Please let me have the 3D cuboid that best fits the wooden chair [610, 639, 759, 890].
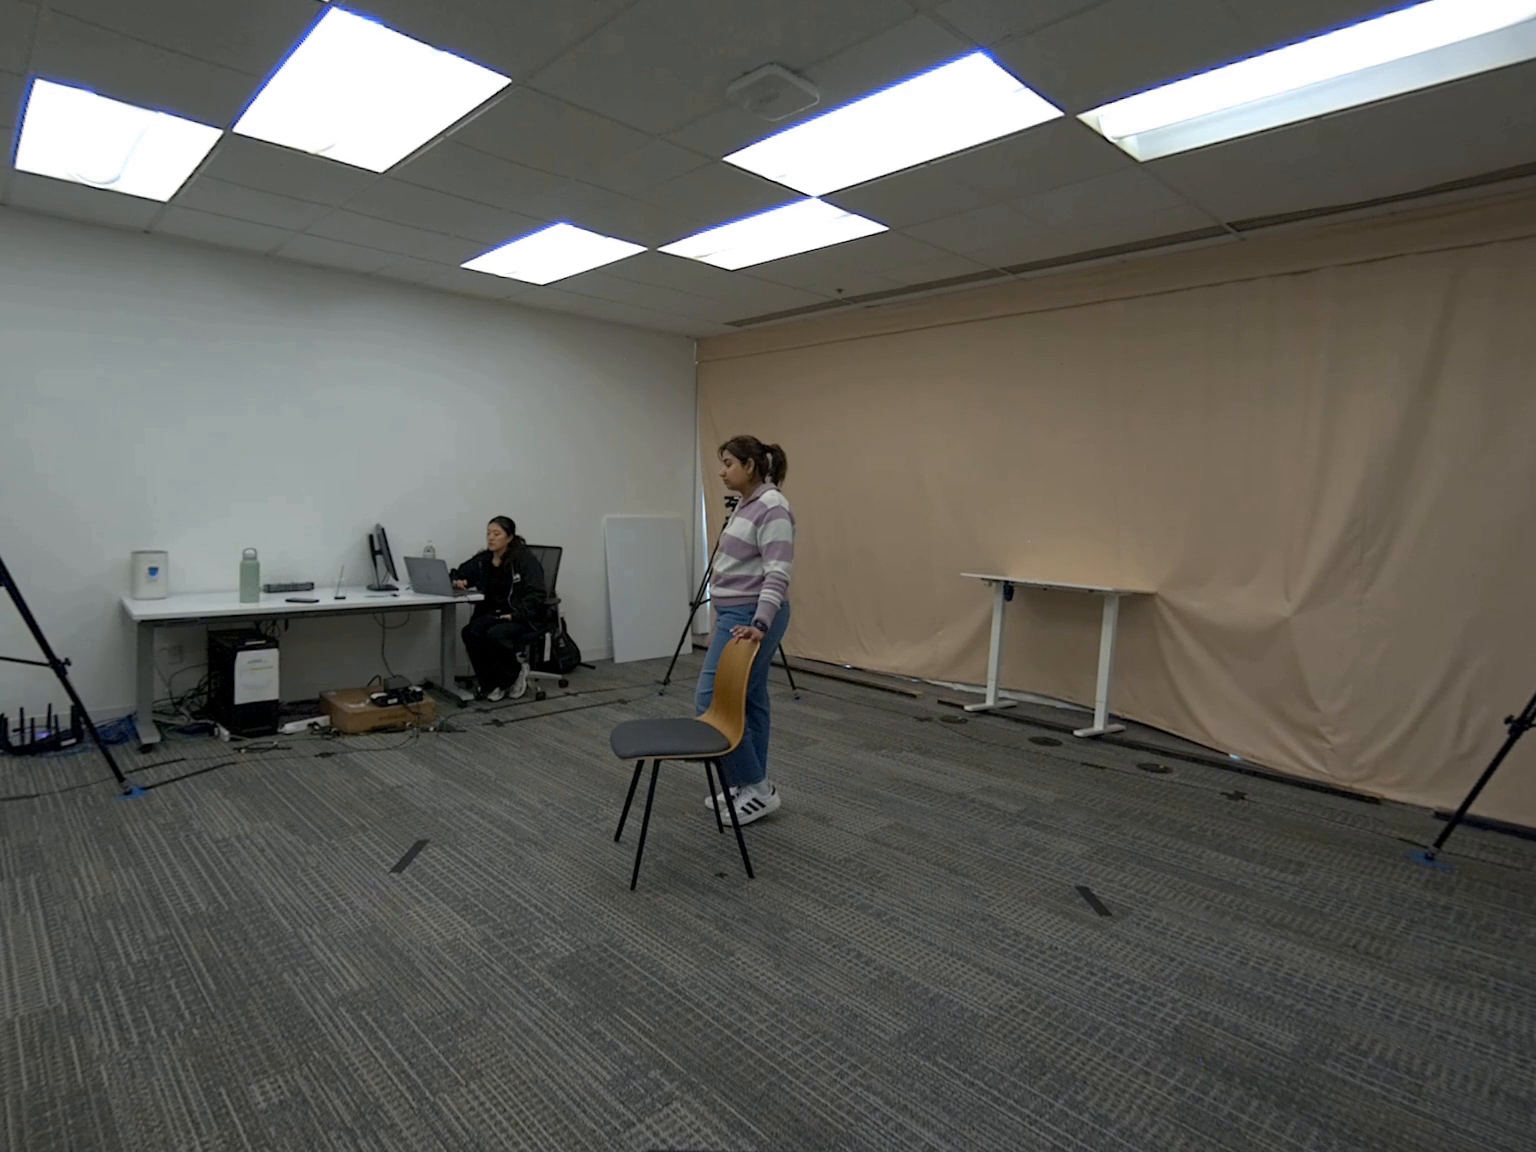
[{"bbox_3d":[-0.339,0.663,3.197,0.516,0.876,0.485,5,3,-17],"label":"wooden chair"}]
